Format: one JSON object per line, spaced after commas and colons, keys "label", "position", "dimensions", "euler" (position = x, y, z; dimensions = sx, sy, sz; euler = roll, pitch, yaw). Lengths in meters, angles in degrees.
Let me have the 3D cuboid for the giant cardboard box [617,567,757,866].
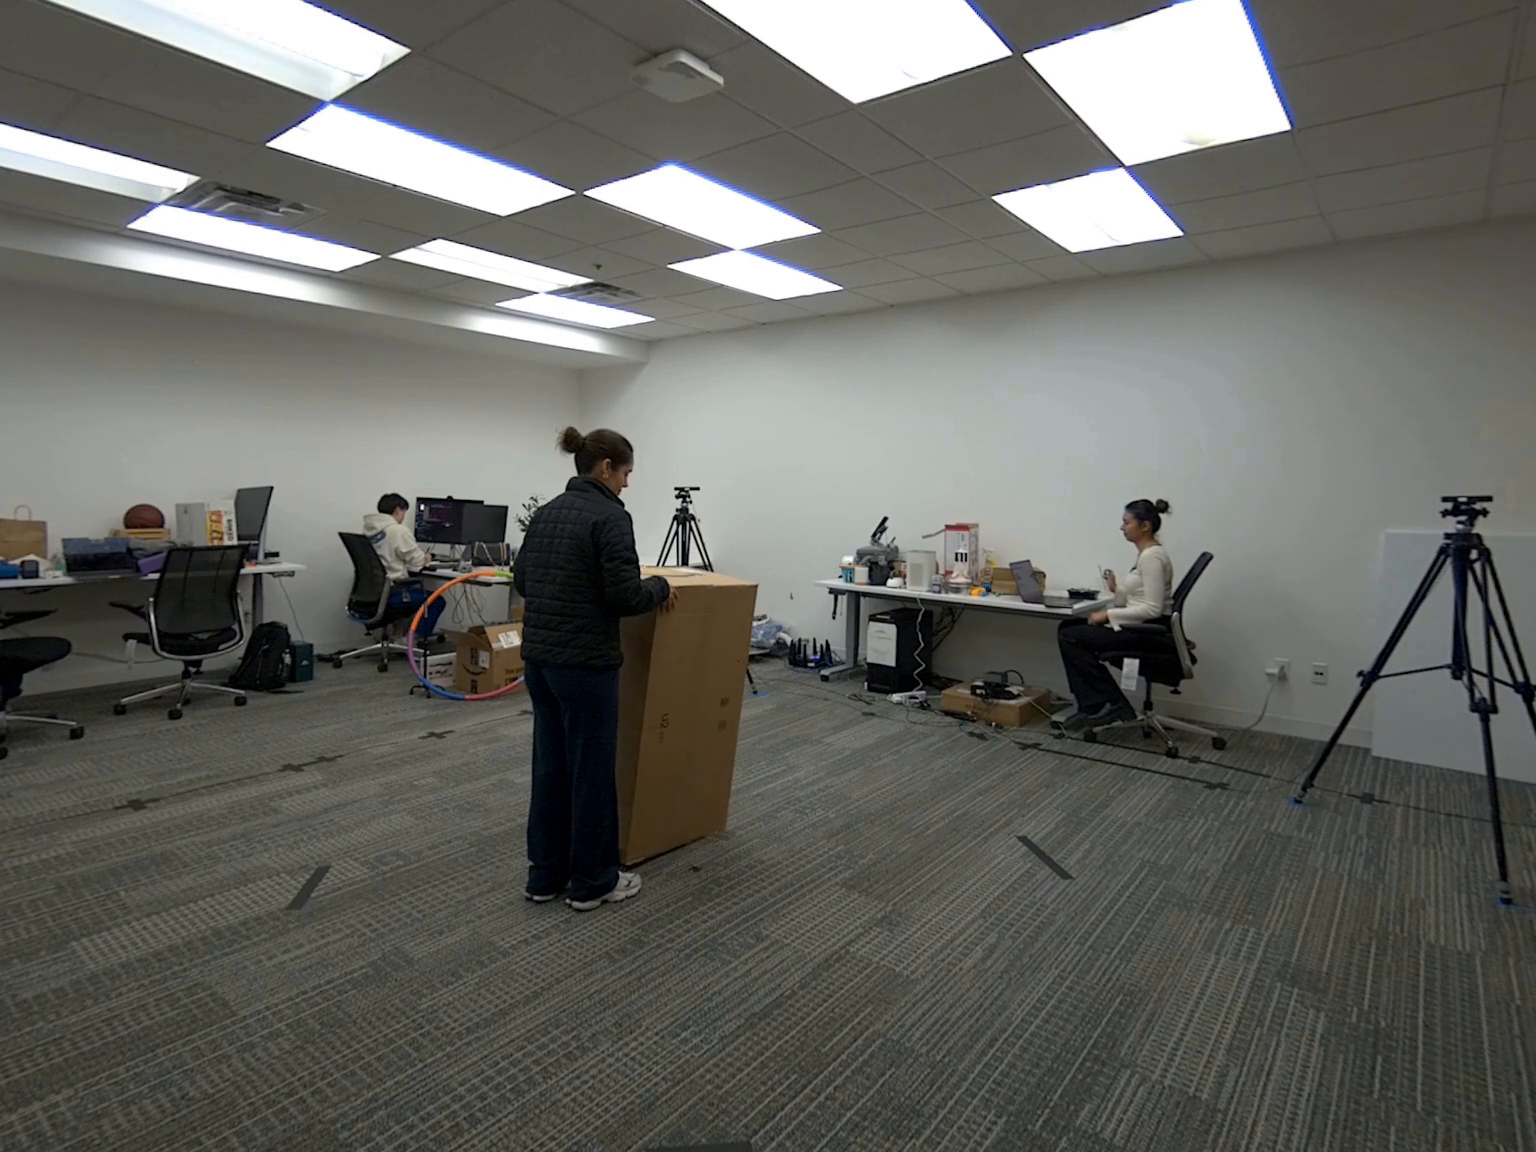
{"label": "giant cardboard box", "position": [-0.414, 0.502, 3.379], "dimensions": [0.442, 1.022, 0.559], "euler": [11, 6, 38]}
